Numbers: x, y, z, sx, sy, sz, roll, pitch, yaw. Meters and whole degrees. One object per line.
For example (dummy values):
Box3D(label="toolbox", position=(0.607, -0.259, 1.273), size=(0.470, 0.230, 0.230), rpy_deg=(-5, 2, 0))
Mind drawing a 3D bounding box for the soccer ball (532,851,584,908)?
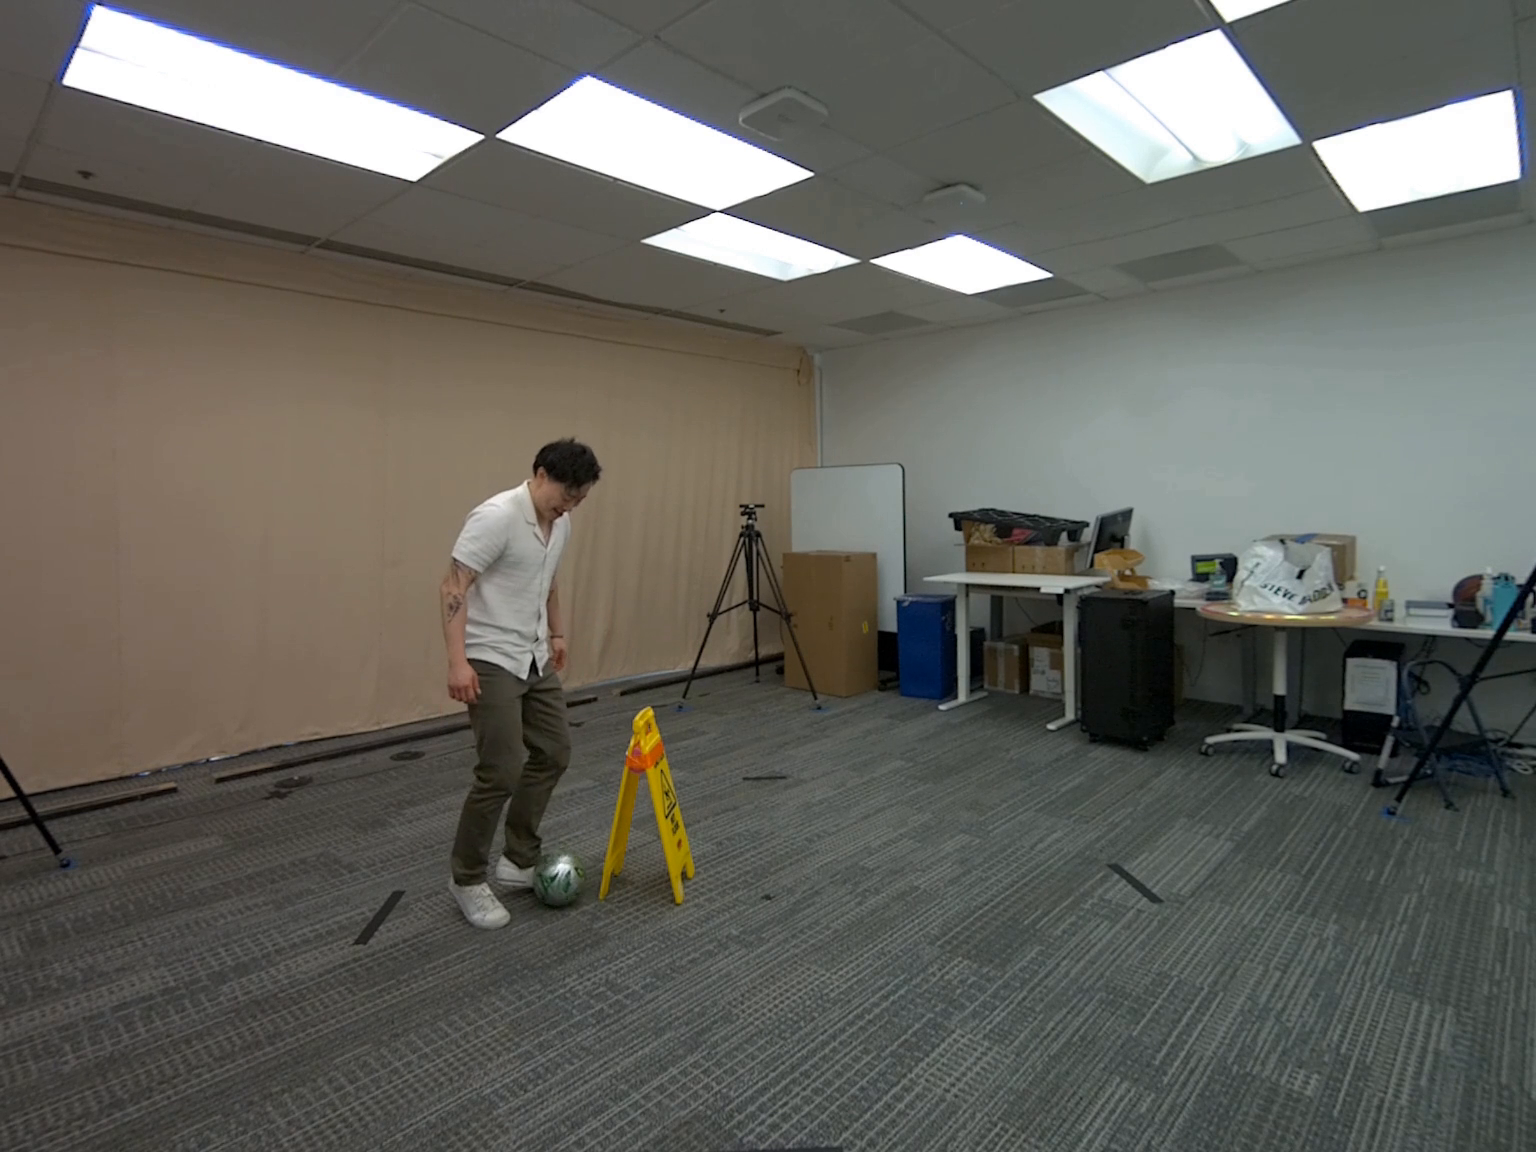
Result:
Box3D(label="soccer ball", position=(-0.739, 1.073, 2.975), size=(0.187, 0.187, 0.188), rpy_deg=(-1, 4, -2))
